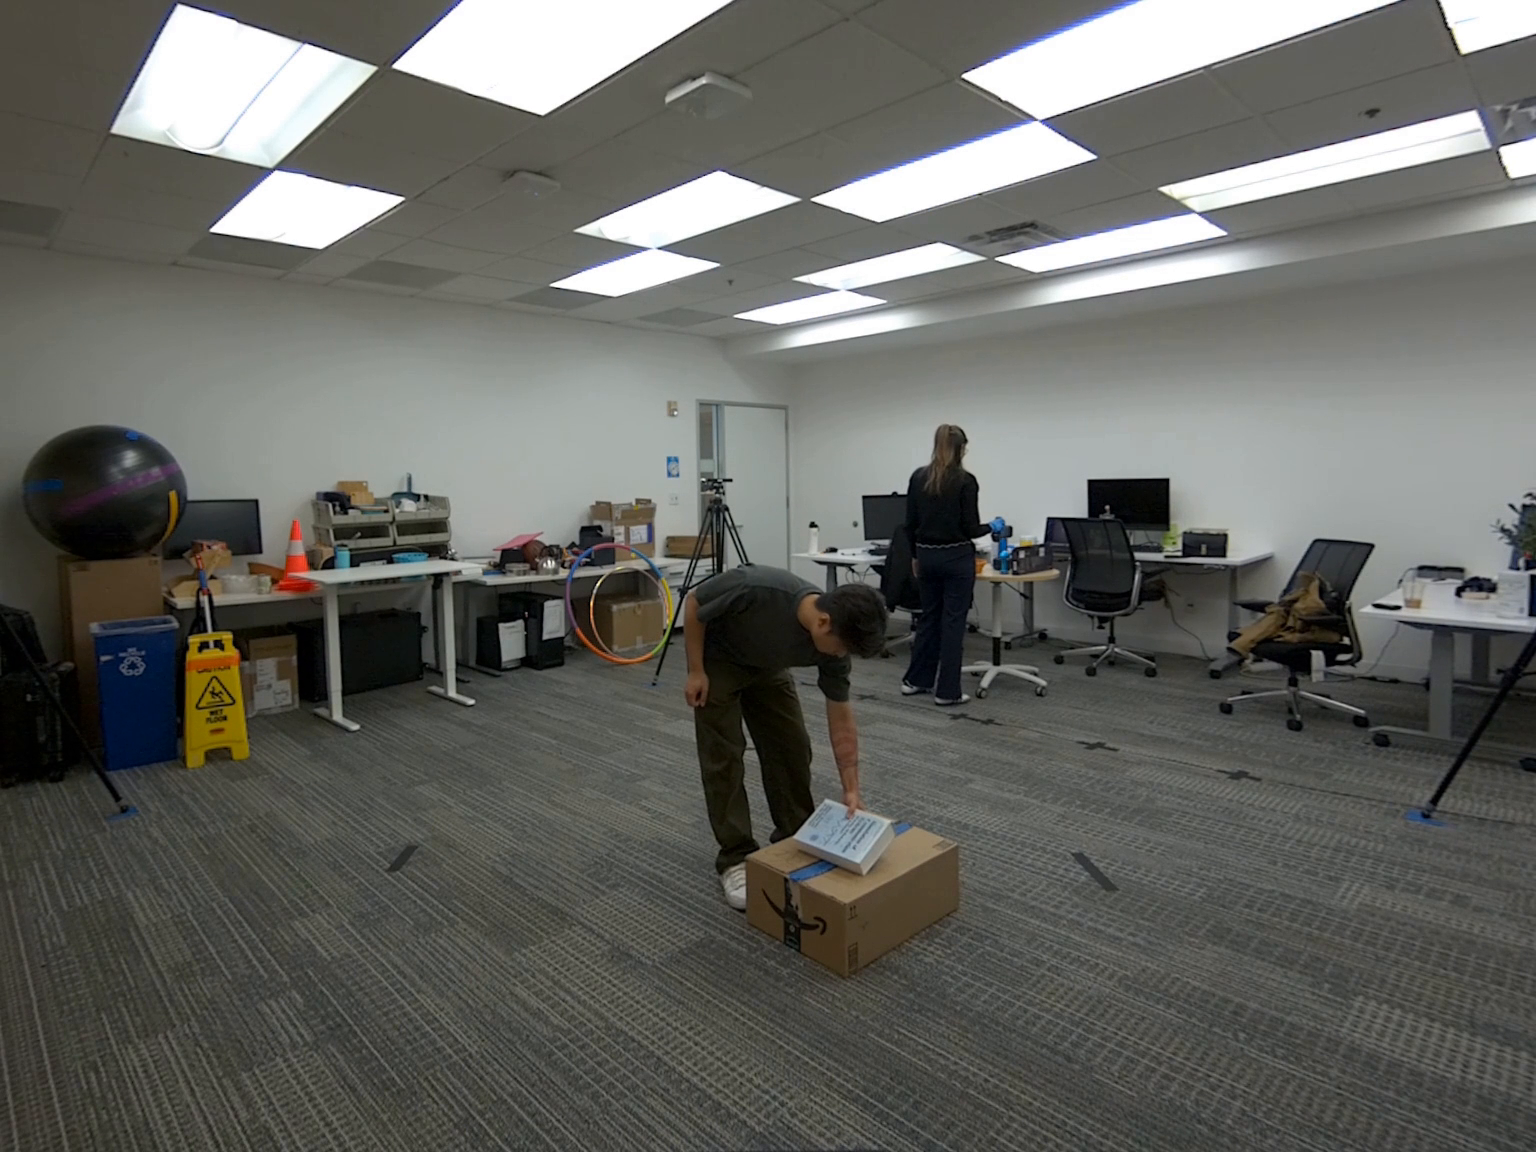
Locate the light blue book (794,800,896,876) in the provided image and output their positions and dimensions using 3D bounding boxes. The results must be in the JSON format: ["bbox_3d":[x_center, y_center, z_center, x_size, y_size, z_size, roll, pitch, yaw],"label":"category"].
[{"bbox_3d":[0.241,0.817,2.679,0.269,0.057,0.190,4,34,44],"label":"light blue book"}]
